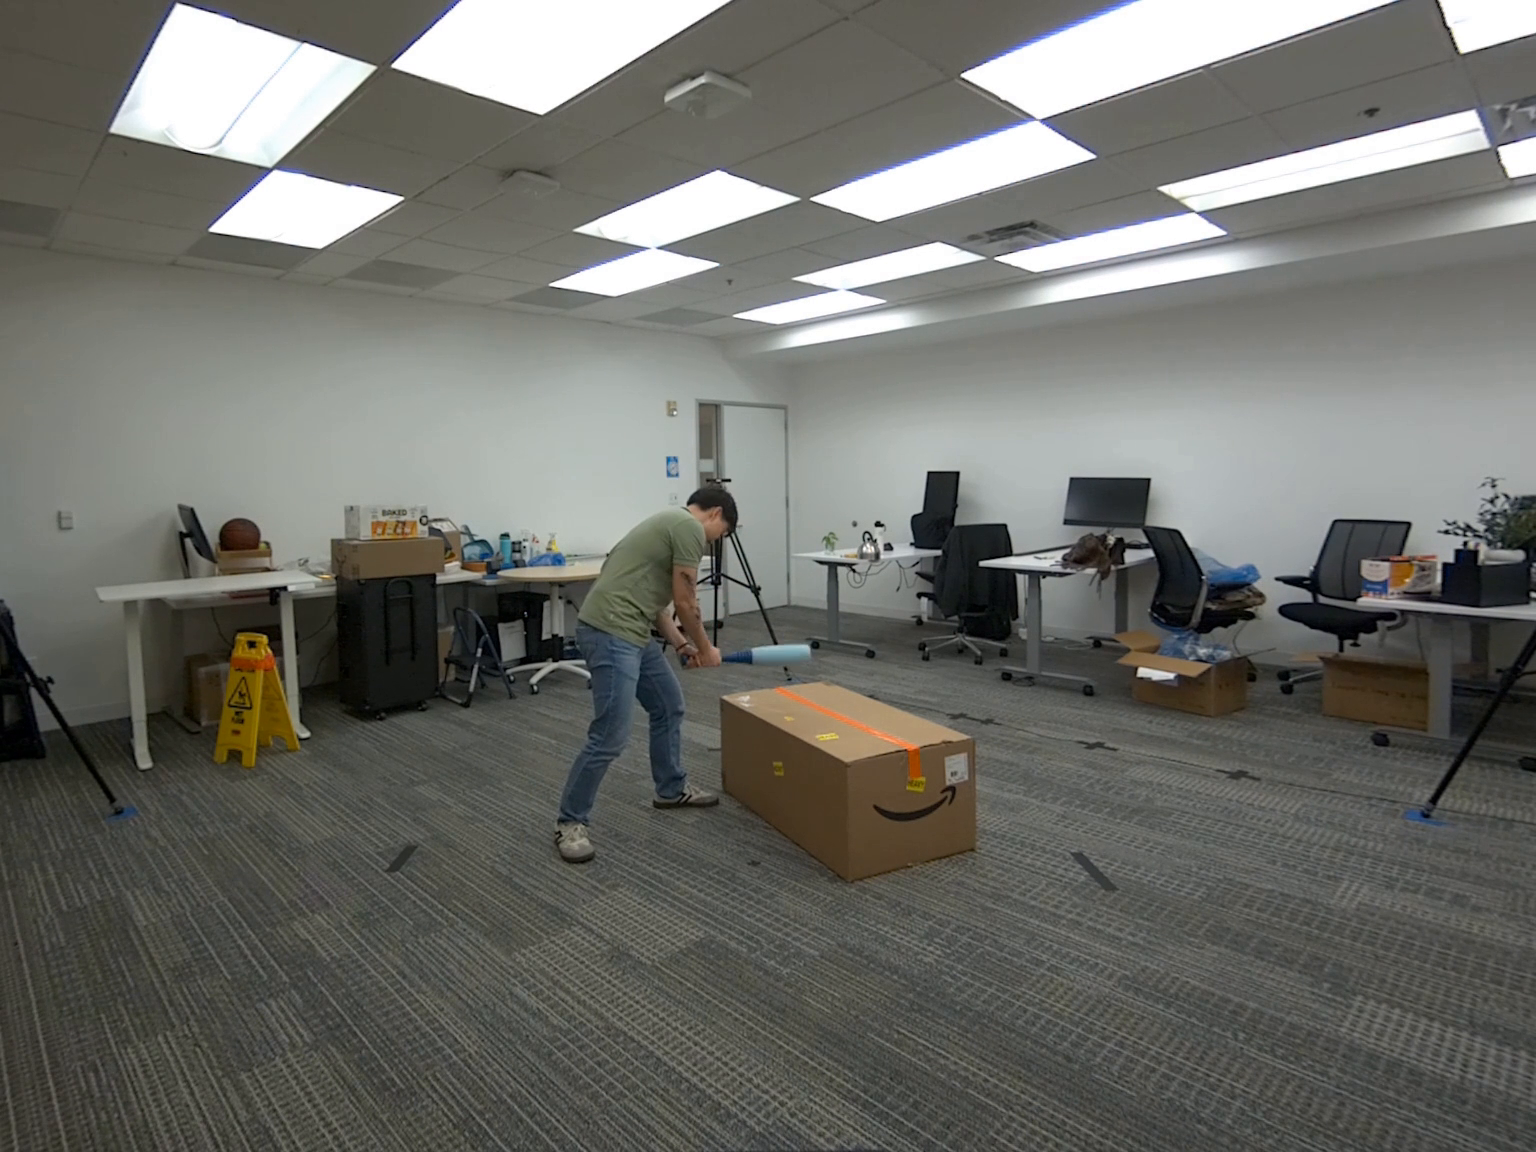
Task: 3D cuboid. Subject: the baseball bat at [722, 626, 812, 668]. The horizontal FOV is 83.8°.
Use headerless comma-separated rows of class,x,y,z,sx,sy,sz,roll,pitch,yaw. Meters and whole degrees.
baseball bat,-0.094,0.310,3.530,0.540,0.089,0.090,-3,5,-6
